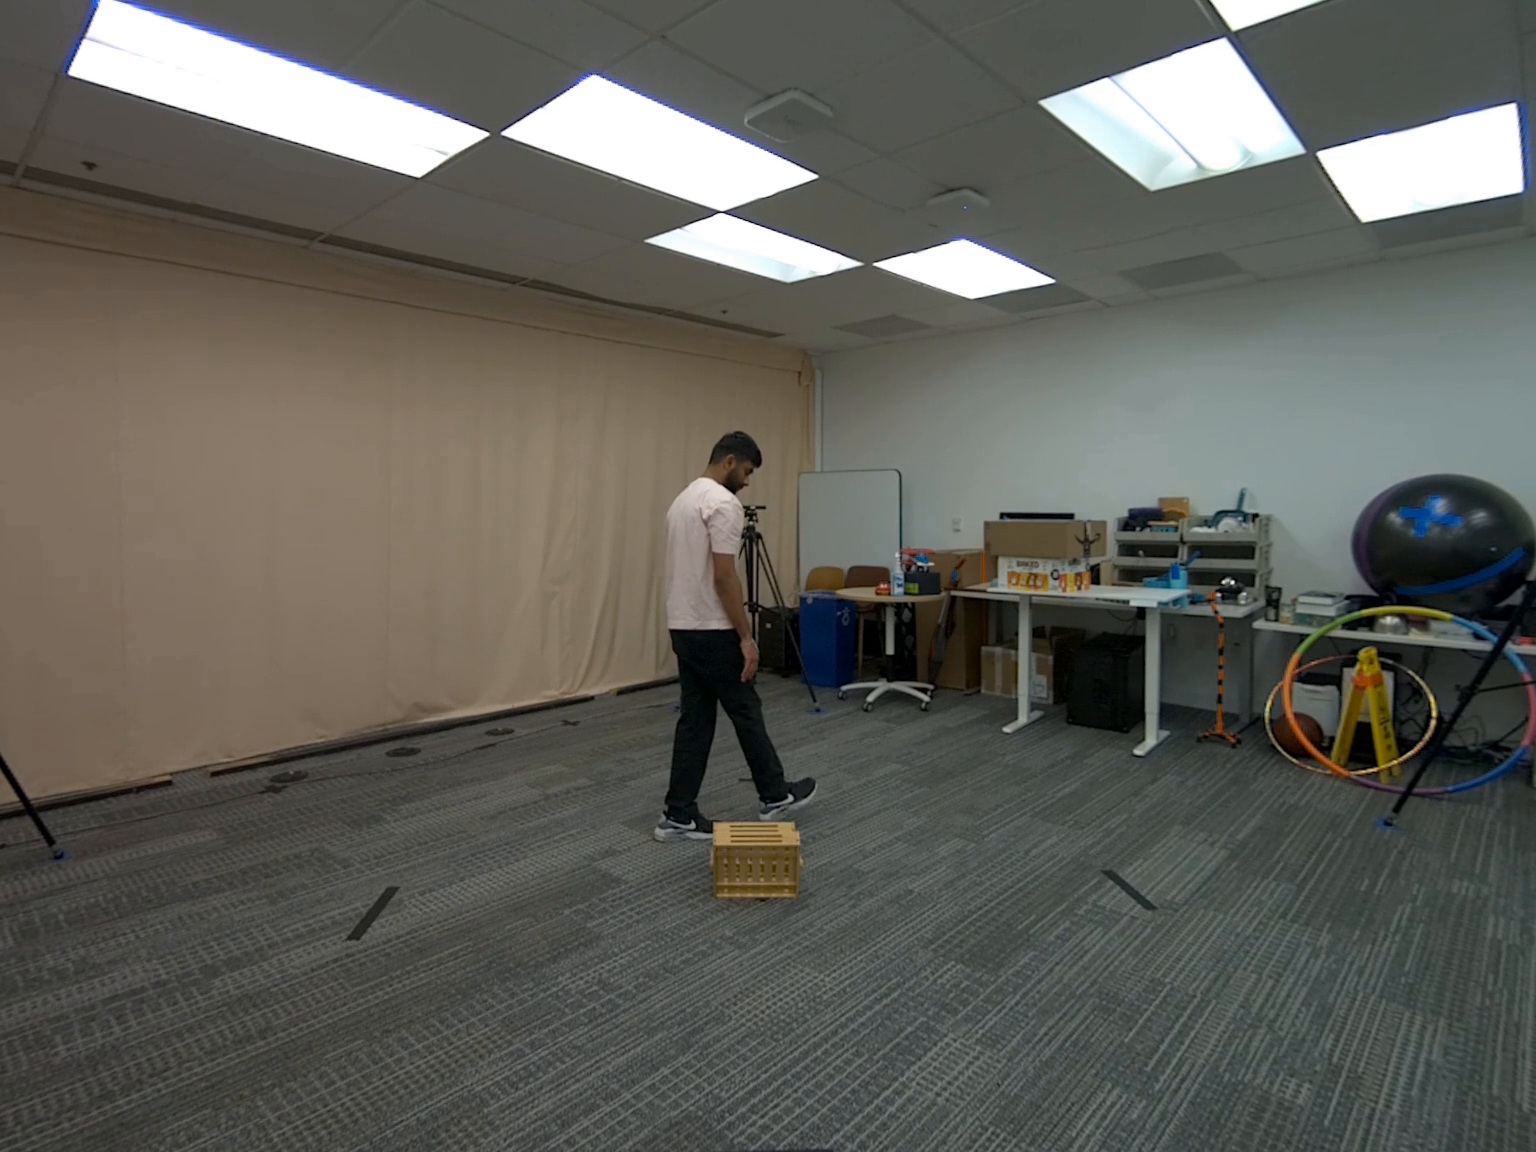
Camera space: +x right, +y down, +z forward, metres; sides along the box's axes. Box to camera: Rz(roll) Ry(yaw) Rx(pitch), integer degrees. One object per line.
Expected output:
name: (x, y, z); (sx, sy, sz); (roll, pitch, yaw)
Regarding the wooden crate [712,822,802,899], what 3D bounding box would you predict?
wooden crate: (-0.046, 1.000, 3.078); (0.324, 0.298, 0.277); (0, 21, -1)
